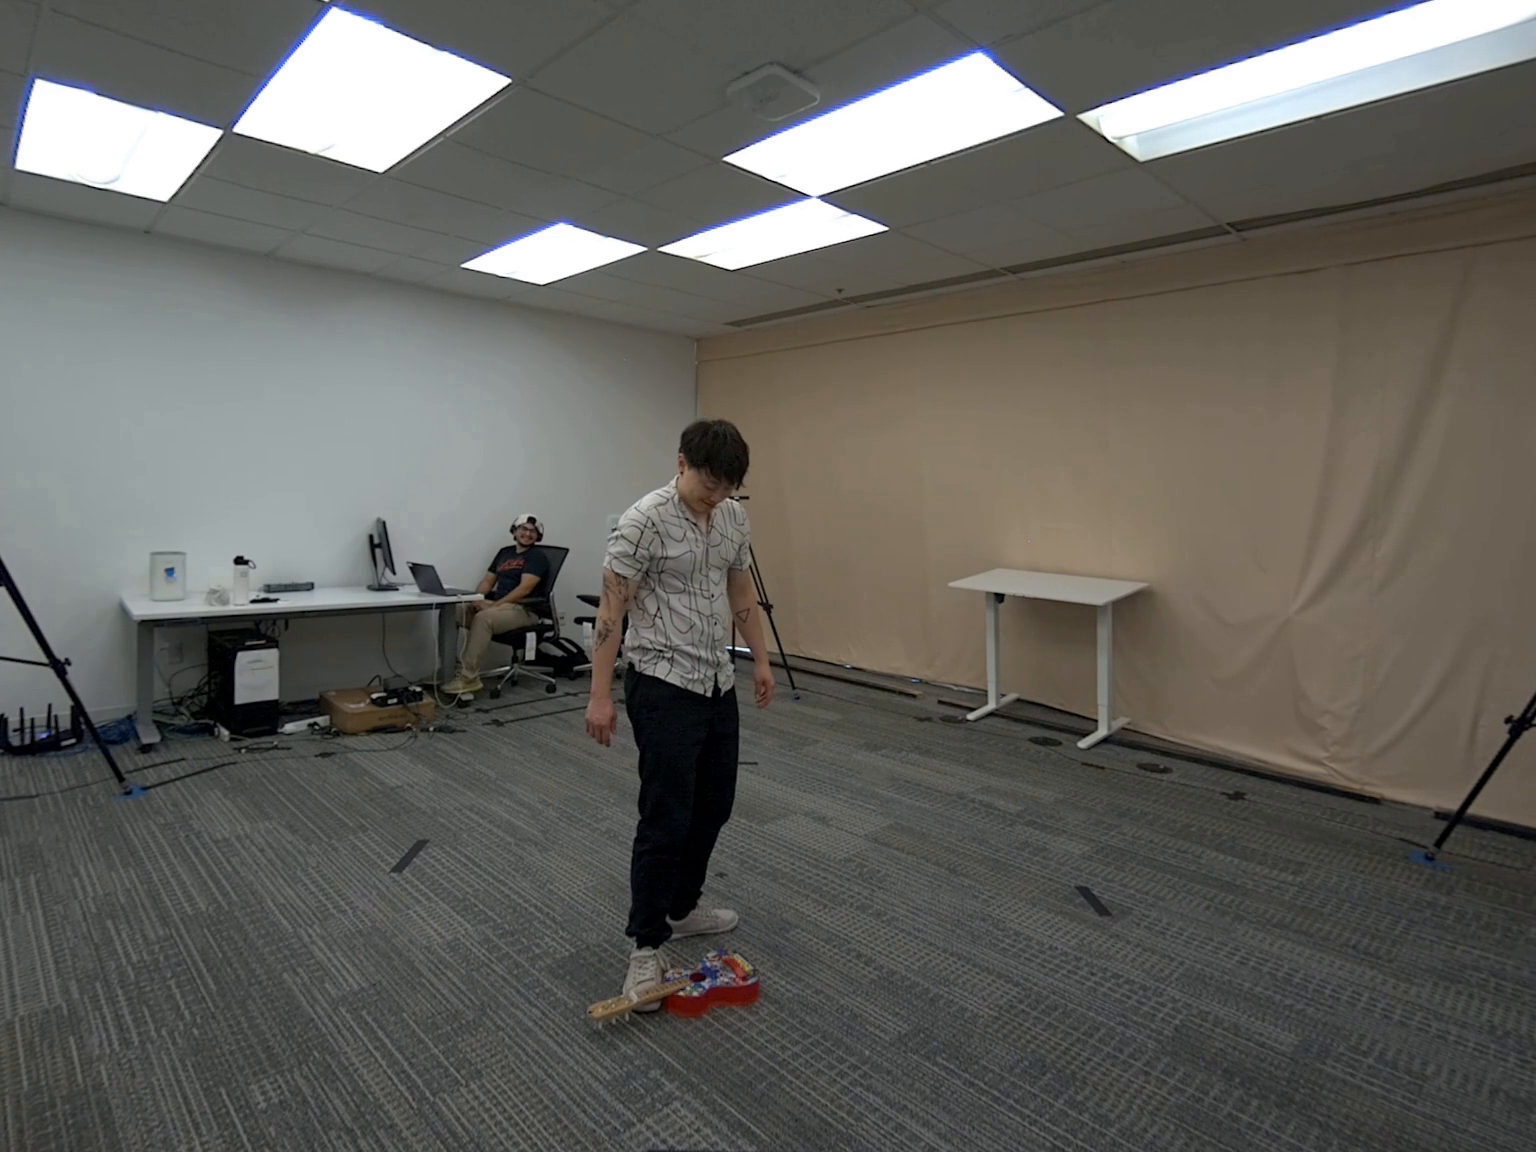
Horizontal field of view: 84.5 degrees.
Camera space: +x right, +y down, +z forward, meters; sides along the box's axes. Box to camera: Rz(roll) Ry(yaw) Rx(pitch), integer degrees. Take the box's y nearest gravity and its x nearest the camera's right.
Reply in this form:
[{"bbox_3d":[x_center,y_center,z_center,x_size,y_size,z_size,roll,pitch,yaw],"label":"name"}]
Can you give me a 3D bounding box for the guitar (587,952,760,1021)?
[{"bbox_3d":[-0.271,1.141,2.311,0.489,0.070,0.197,-1,6,-25],"label":"guitar"}]
